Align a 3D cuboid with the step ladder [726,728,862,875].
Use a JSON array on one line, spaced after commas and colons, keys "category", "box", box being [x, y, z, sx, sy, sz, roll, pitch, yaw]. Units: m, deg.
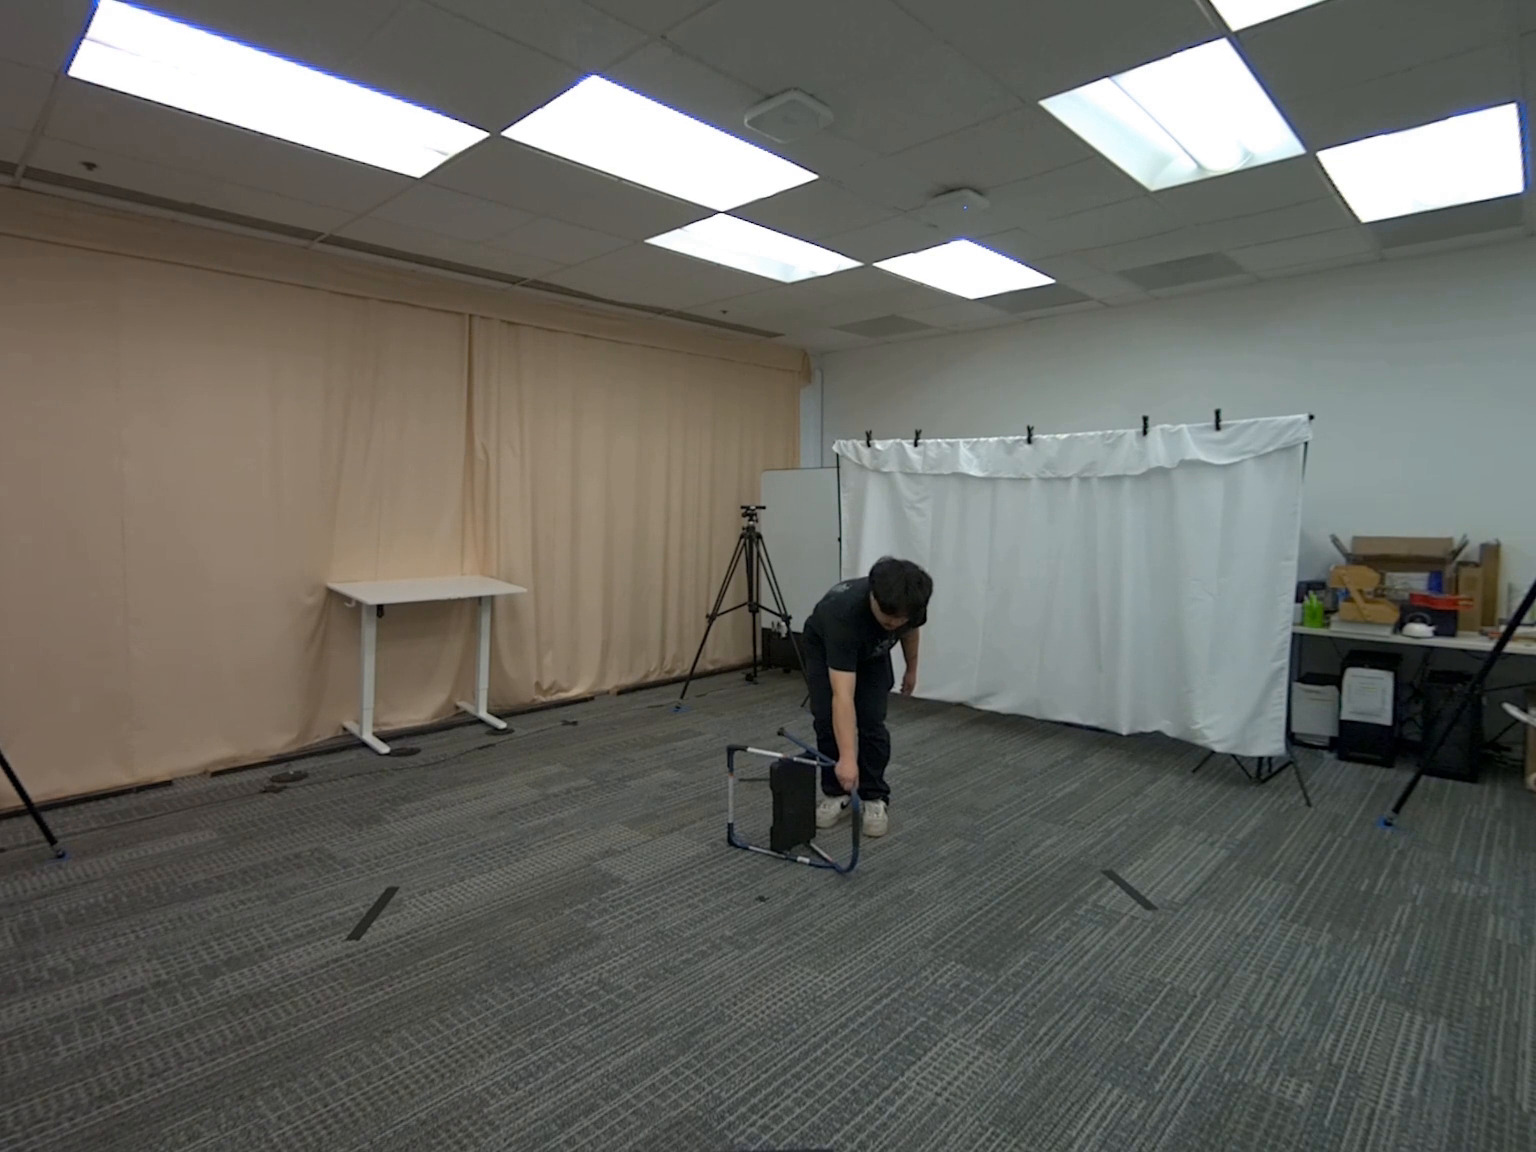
[{"category": "step ladder", "box": [0.160, 0.894, 3.335, 0.339, 0.429, 0.626, -5, 6, -44]}]
